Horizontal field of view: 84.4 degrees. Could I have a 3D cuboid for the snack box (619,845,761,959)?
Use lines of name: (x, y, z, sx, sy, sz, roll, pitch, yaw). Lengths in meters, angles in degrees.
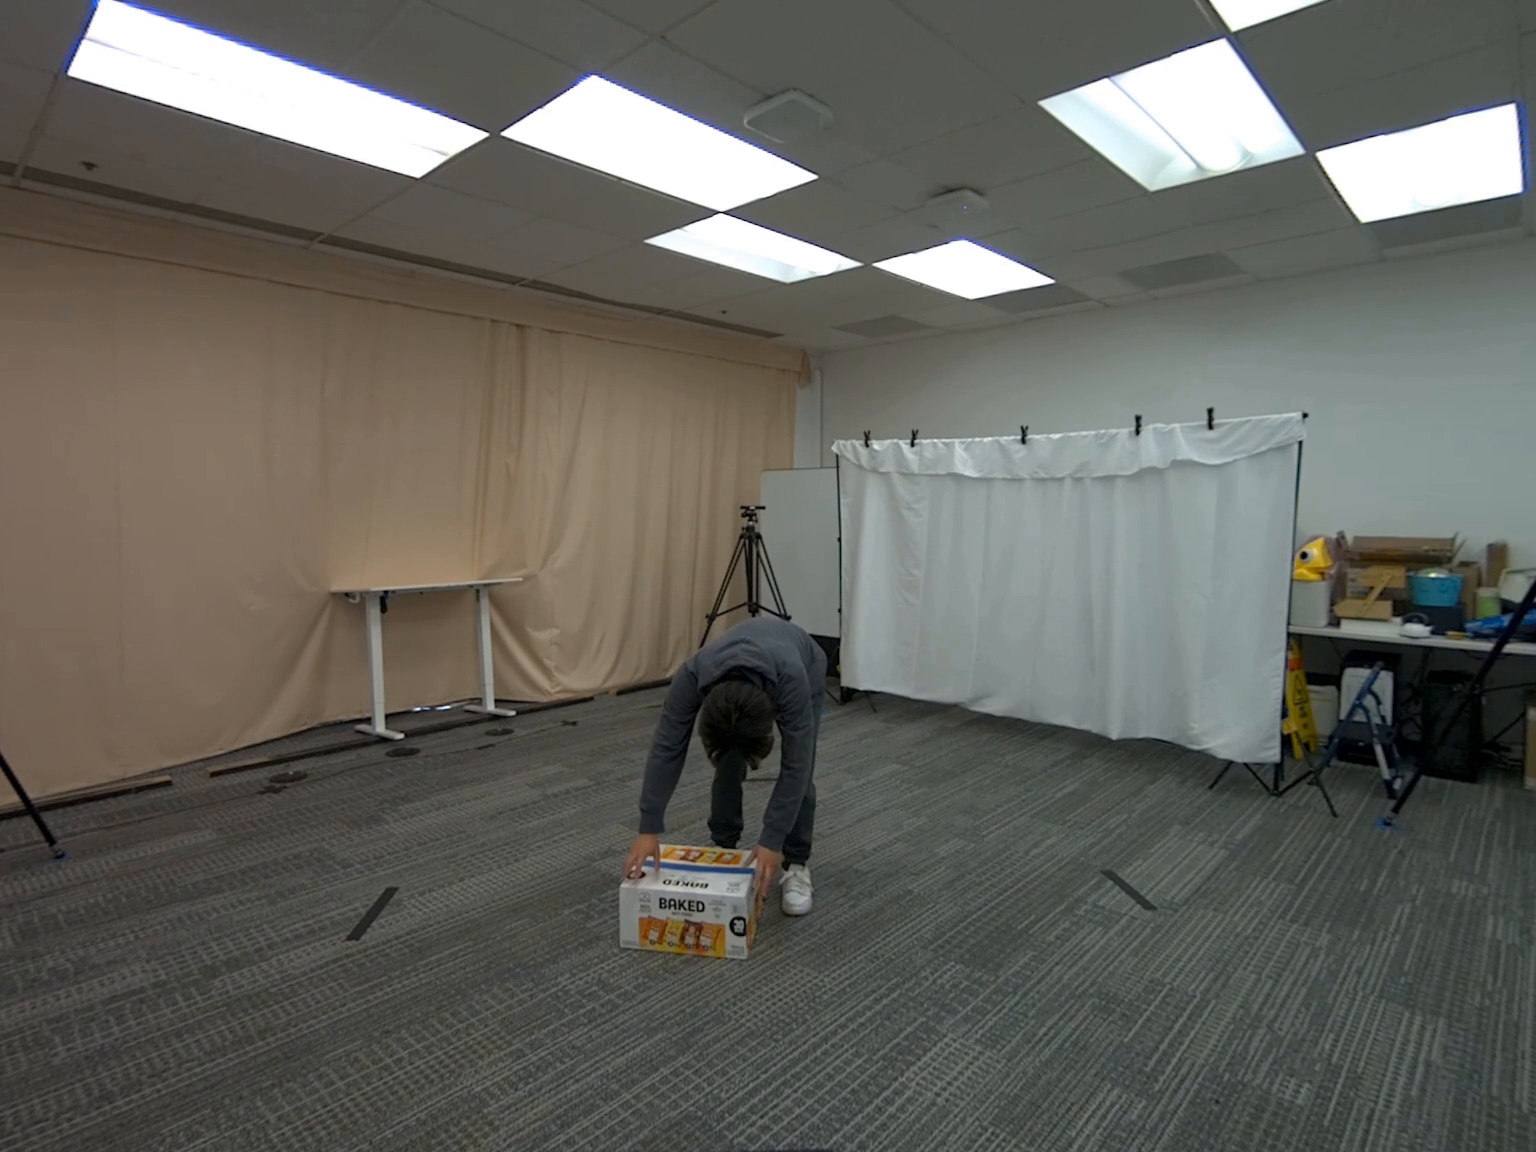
snack box: (-0.241, 1.062, 2.769, 0.410, 0.205, 0.337, 0, 4, 10)
